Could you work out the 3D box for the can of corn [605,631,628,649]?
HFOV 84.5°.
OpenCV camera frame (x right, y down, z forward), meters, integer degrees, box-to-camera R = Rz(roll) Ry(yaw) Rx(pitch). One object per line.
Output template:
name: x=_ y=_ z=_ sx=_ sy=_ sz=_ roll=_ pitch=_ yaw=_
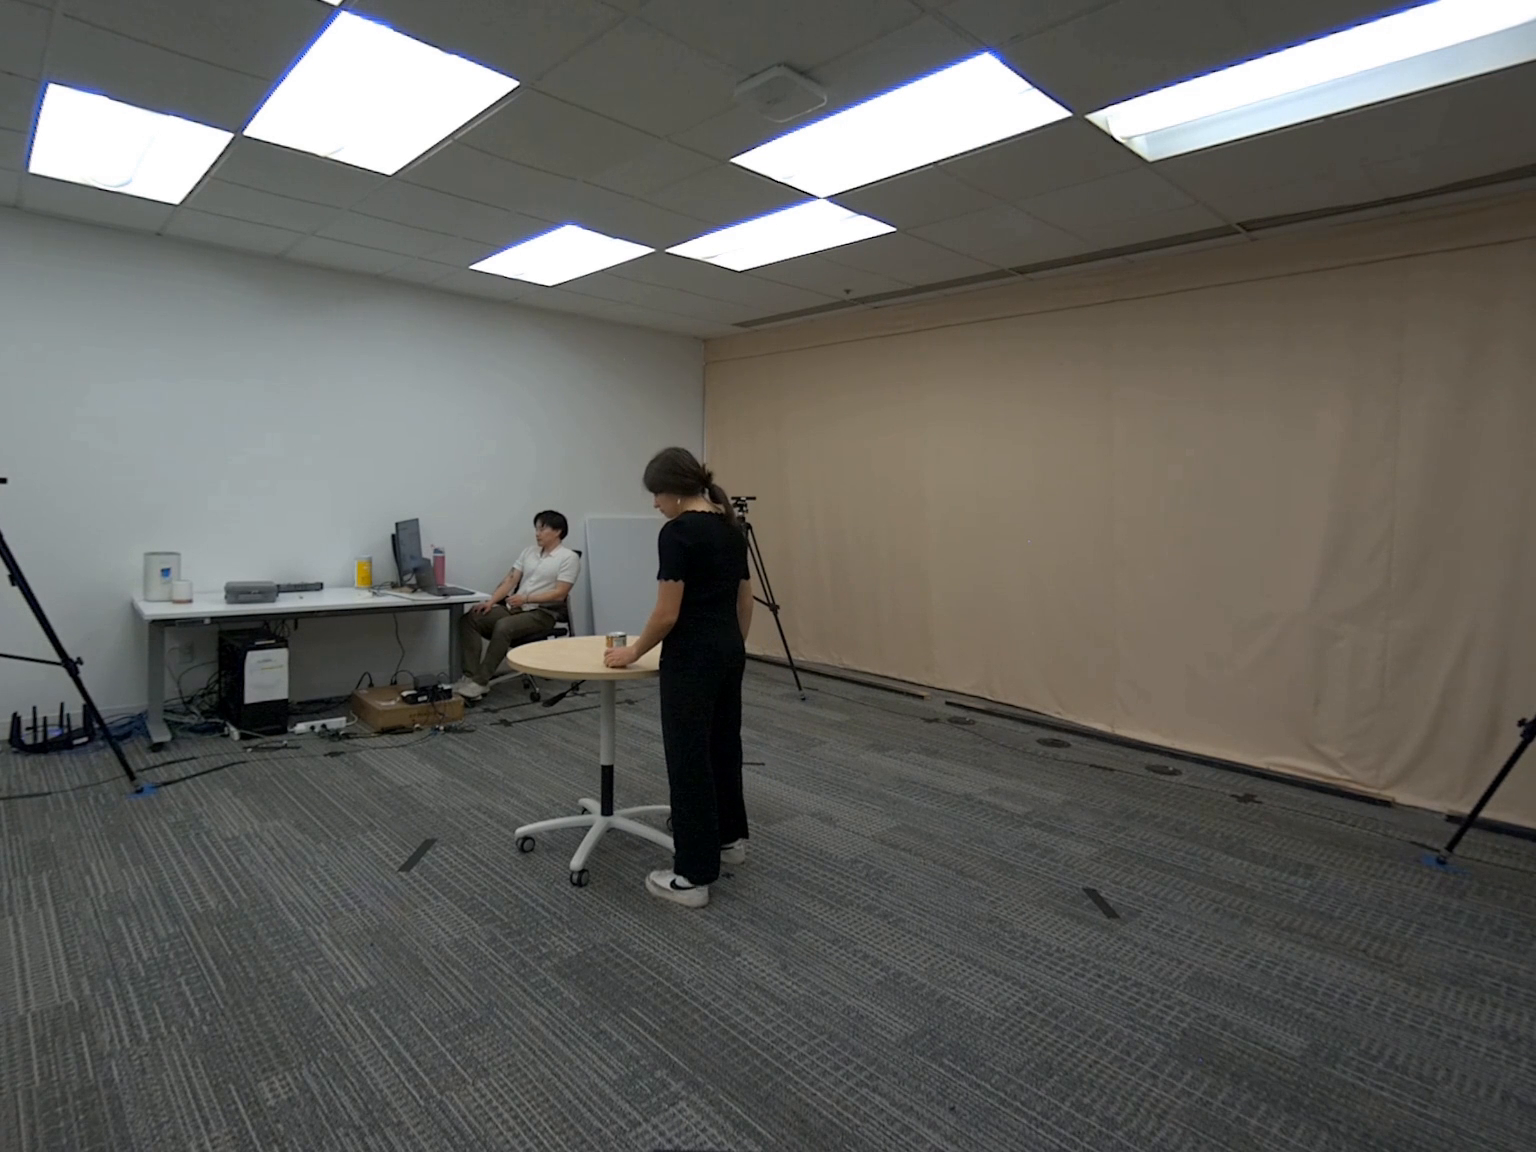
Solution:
can of corn: x=-0.544 y=0.264 z=3.022 sx=0.074 sy=0.110 sz=0.074 roll=0 pitch=6 yaw=-1
